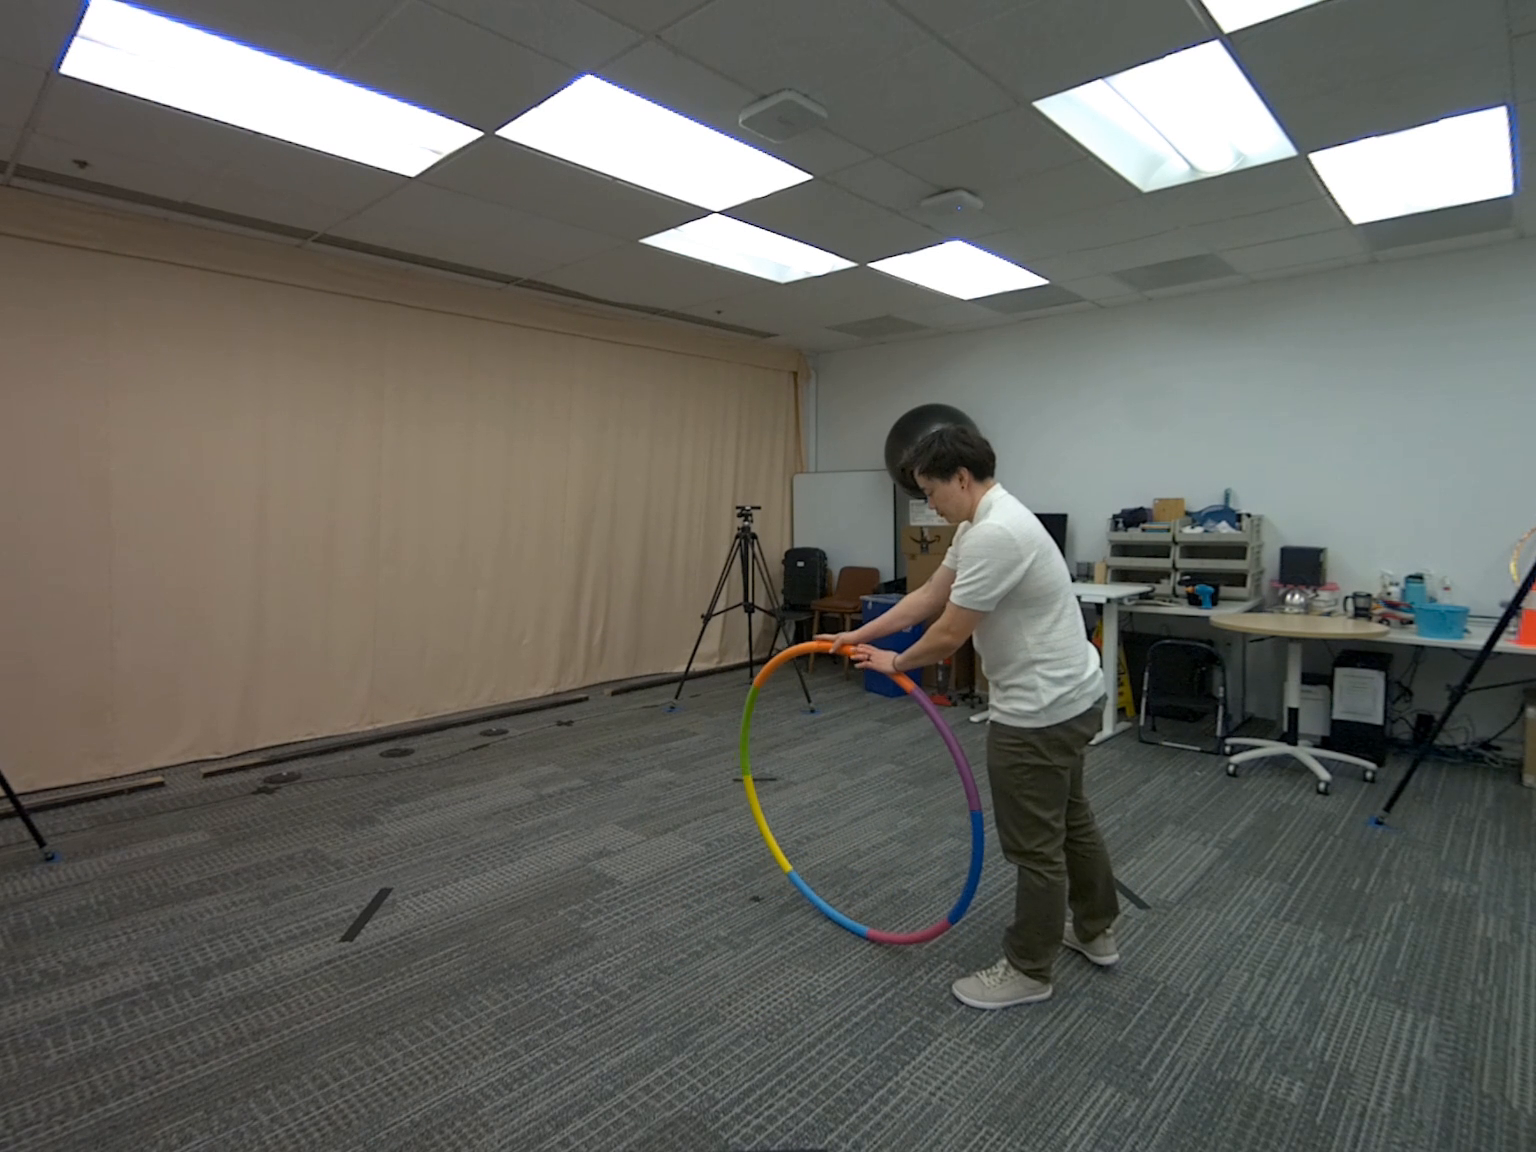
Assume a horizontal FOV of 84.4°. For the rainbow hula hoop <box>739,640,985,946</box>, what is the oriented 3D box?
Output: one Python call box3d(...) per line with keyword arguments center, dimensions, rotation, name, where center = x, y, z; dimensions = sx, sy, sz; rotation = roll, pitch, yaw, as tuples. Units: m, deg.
box3d(center=(0.257, 0.690, 2.714), dimensions=(0.034, 0.974, 1.011), rotation=(-9, 9, -40), name="rainbow hula hoop")
